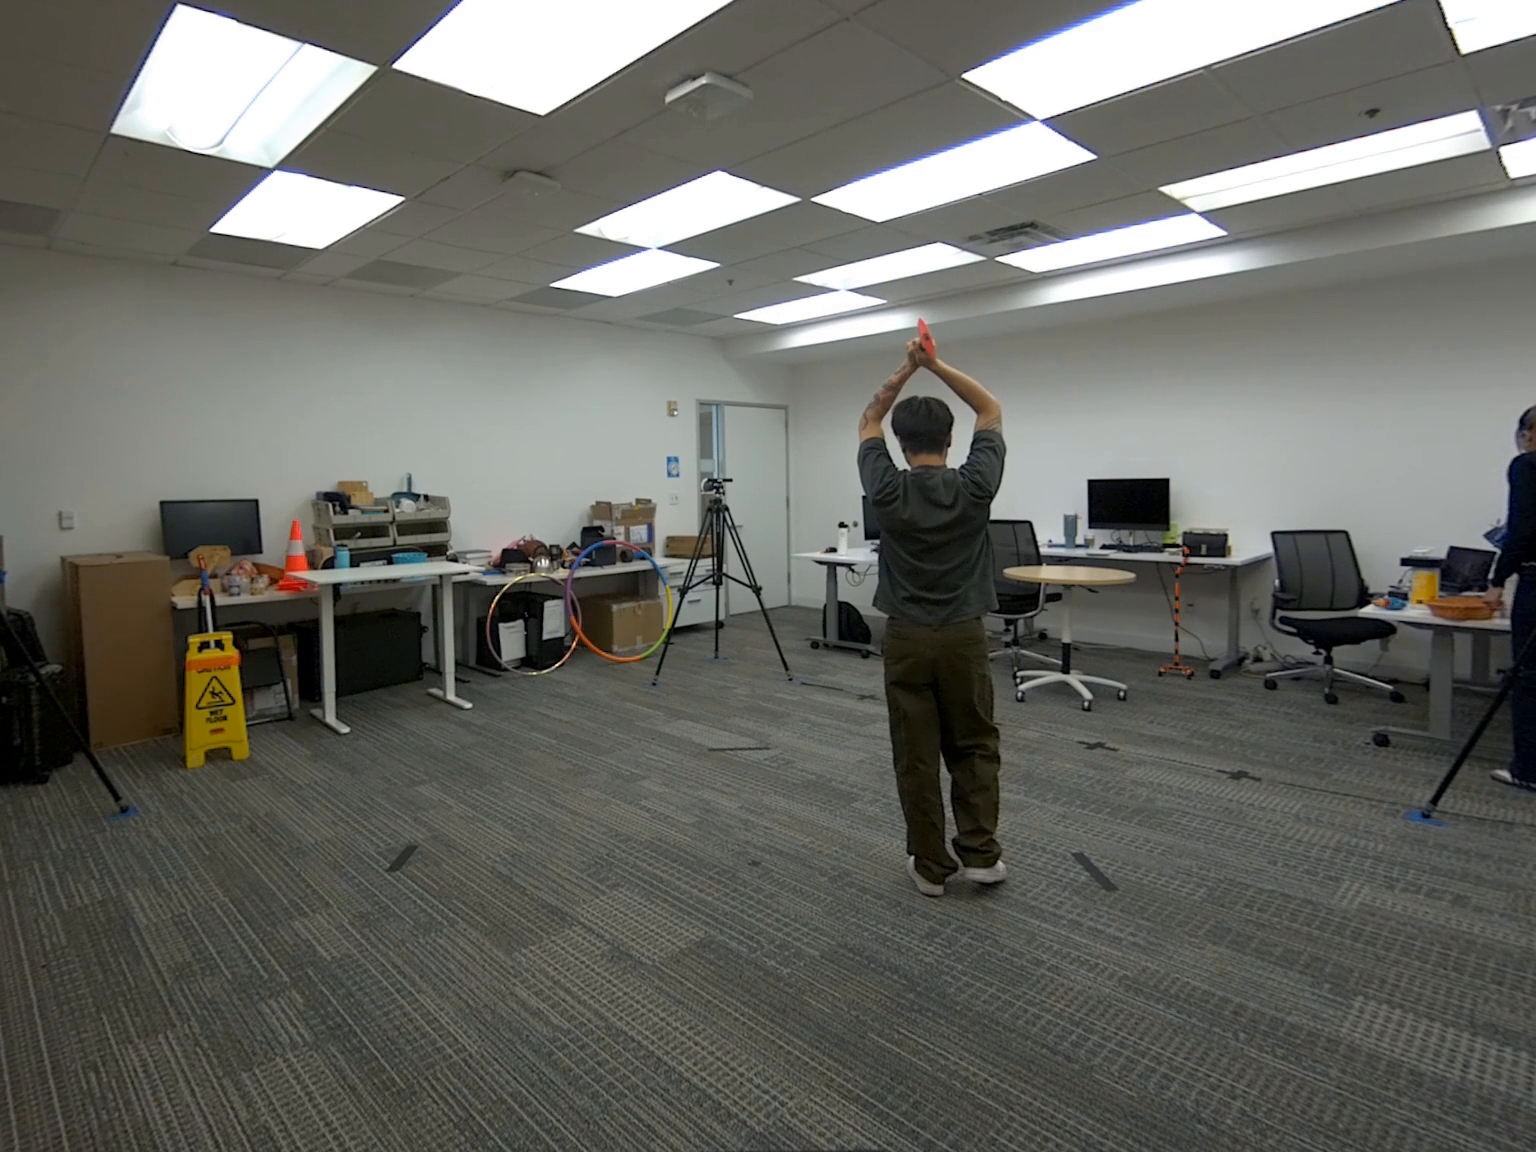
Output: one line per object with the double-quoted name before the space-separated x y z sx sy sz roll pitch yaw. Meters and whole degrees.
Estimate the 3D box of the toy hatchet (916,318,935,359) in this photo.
"toy hatchet" 0.518 -0.792 2.816 0.030 0.128 0.274 -16 18 7
